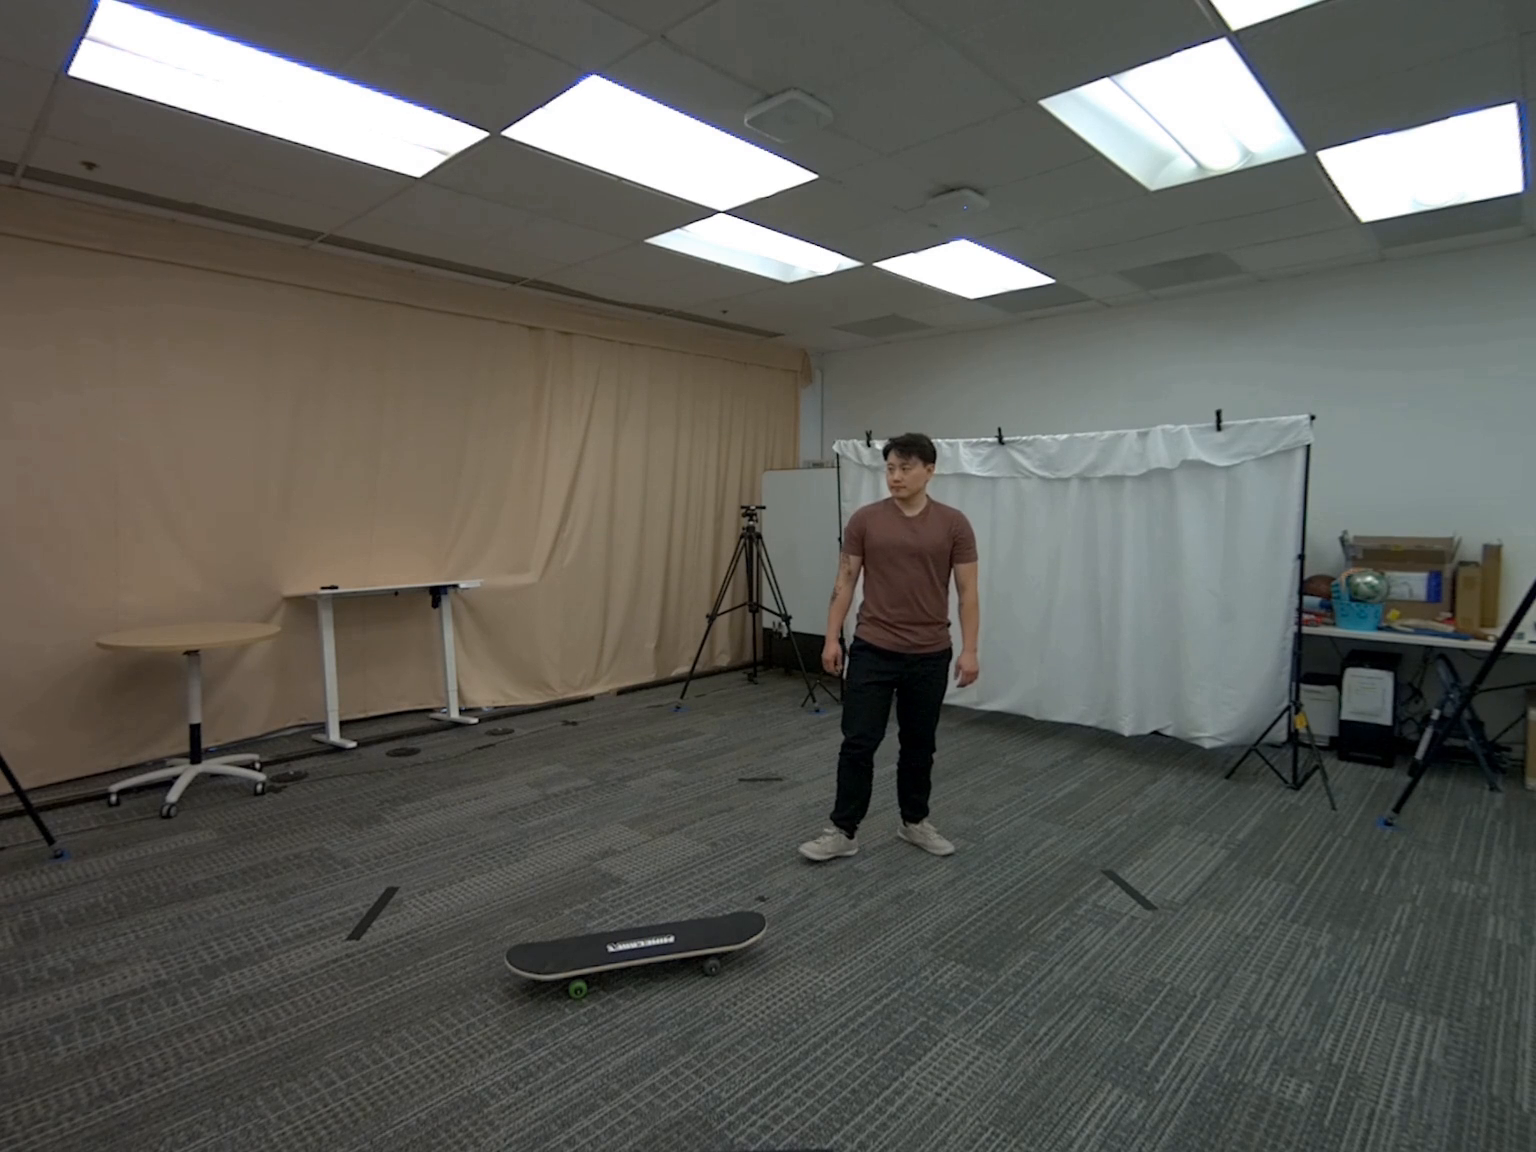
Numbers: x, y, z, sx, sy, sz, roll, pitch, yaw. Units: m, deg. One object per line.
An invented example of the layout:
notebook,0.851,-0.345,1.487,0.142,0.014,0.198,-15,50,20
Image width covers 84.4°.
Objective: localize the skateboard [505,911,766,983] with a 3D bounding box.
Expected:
skateboard,-0.381,1.135,2.506,0.773,0.110,0.197,-2,5,-15
